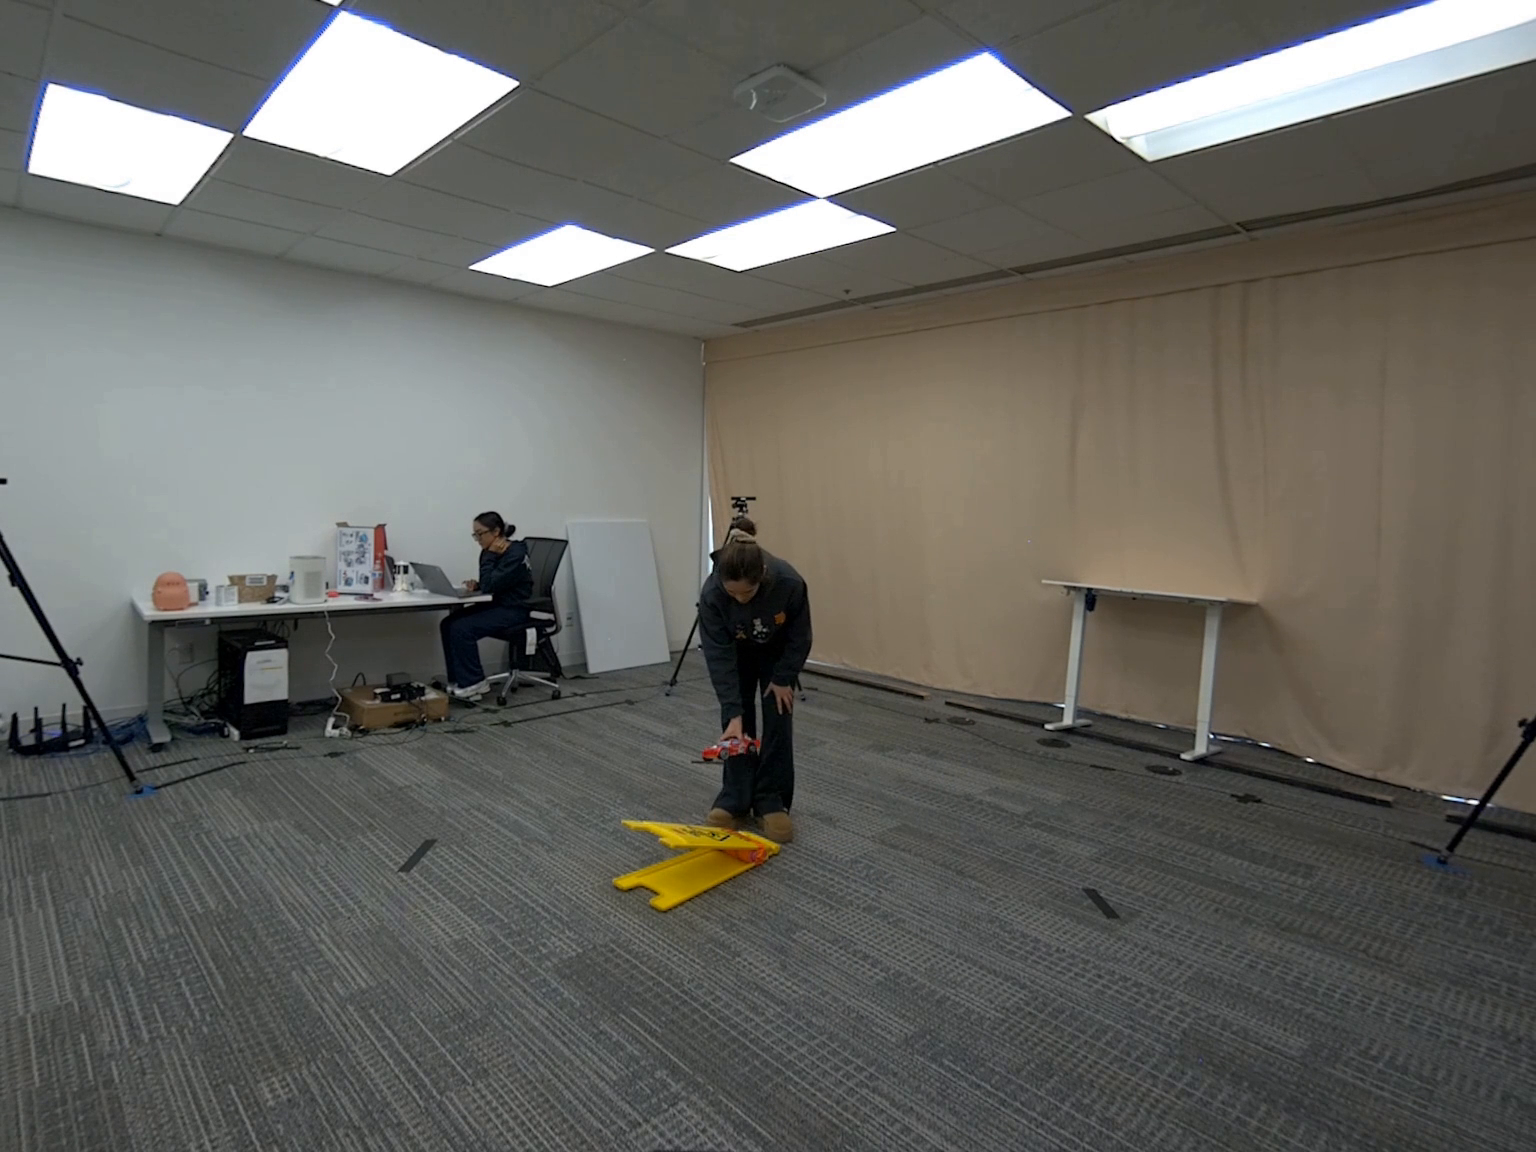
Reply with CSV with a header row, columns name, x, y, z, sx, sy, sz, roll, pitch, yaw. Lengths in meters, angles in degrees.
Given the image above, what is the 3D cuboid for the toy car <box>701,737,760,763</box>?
name,x,y,z,sx,sy,sz,roll,pitch,yaw
toy car,-0.149,0.685,3.315,0.132,0.083,0.250,-17,-2,43
